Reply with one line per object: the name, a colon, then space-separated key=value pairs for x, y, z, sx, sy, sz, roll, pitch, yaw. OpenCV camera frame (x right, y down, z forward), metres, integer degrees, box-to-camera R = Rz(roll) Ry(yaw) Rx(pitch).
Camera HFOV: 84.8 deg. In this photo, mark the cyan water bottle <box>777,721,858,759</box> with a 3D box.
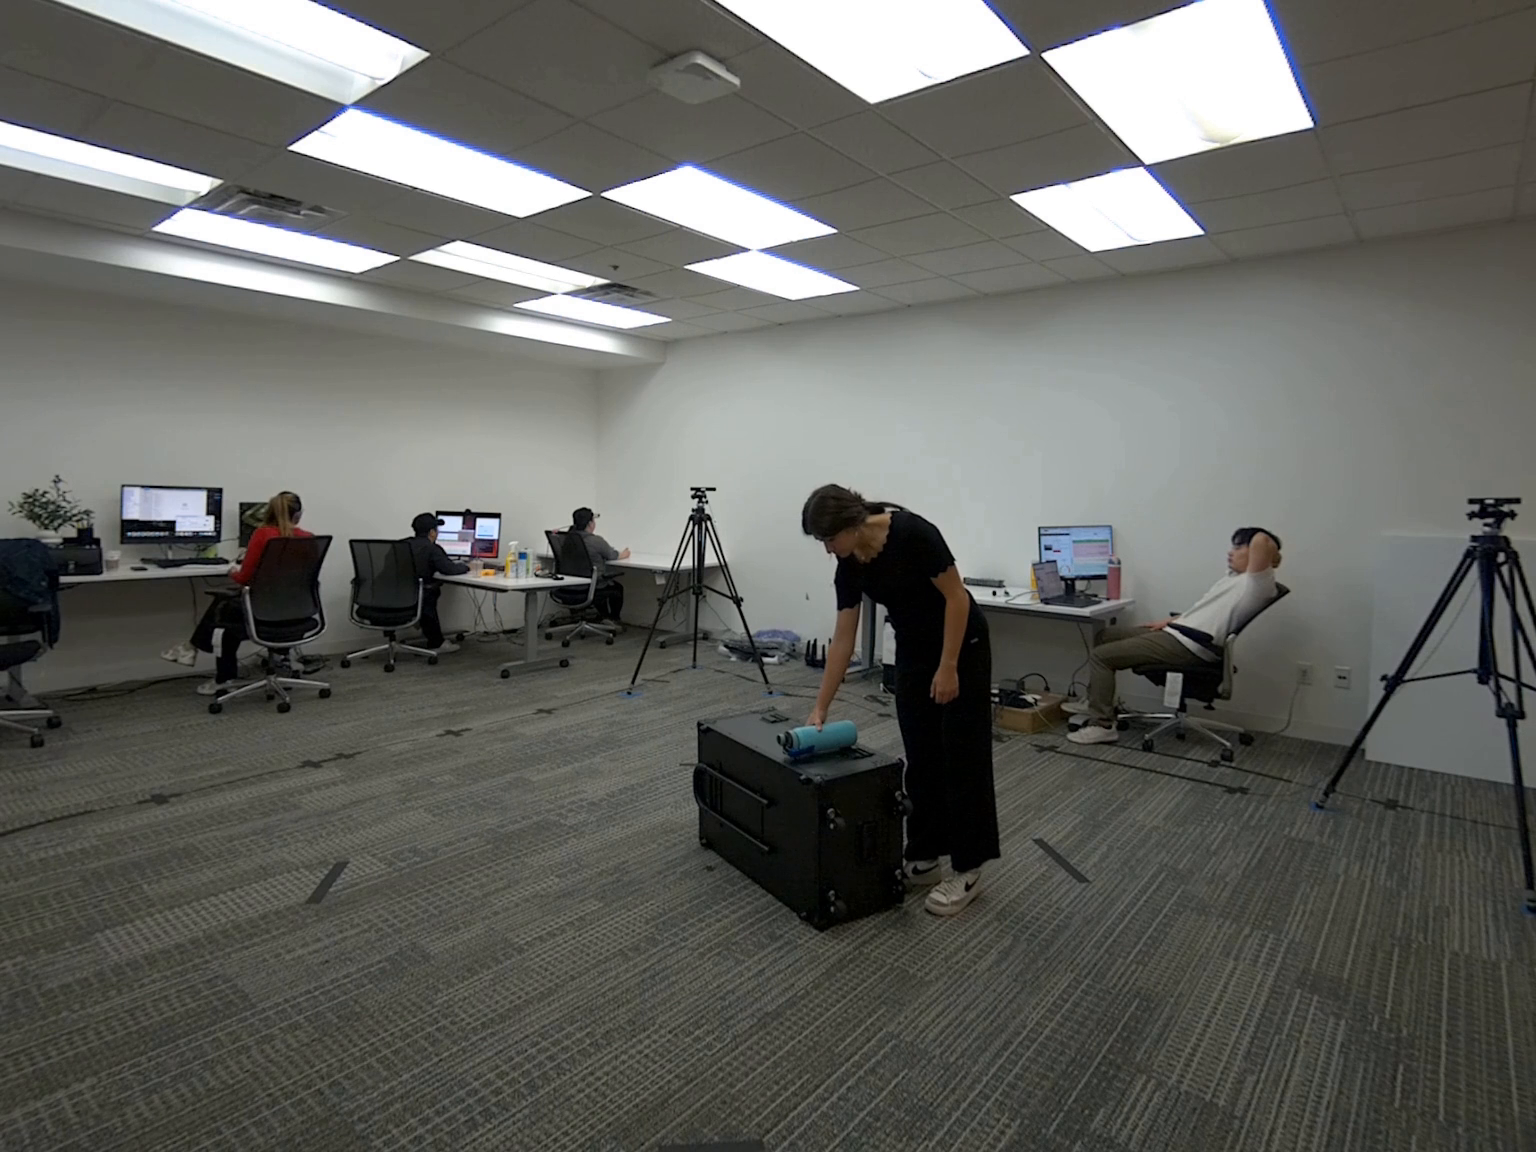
cyan water bottle: x=0.159 y=0.554 z=2.923 sx=0.277 sy=0.092 sz=0.095 roll=-4 pitch=6 yaw=-26
